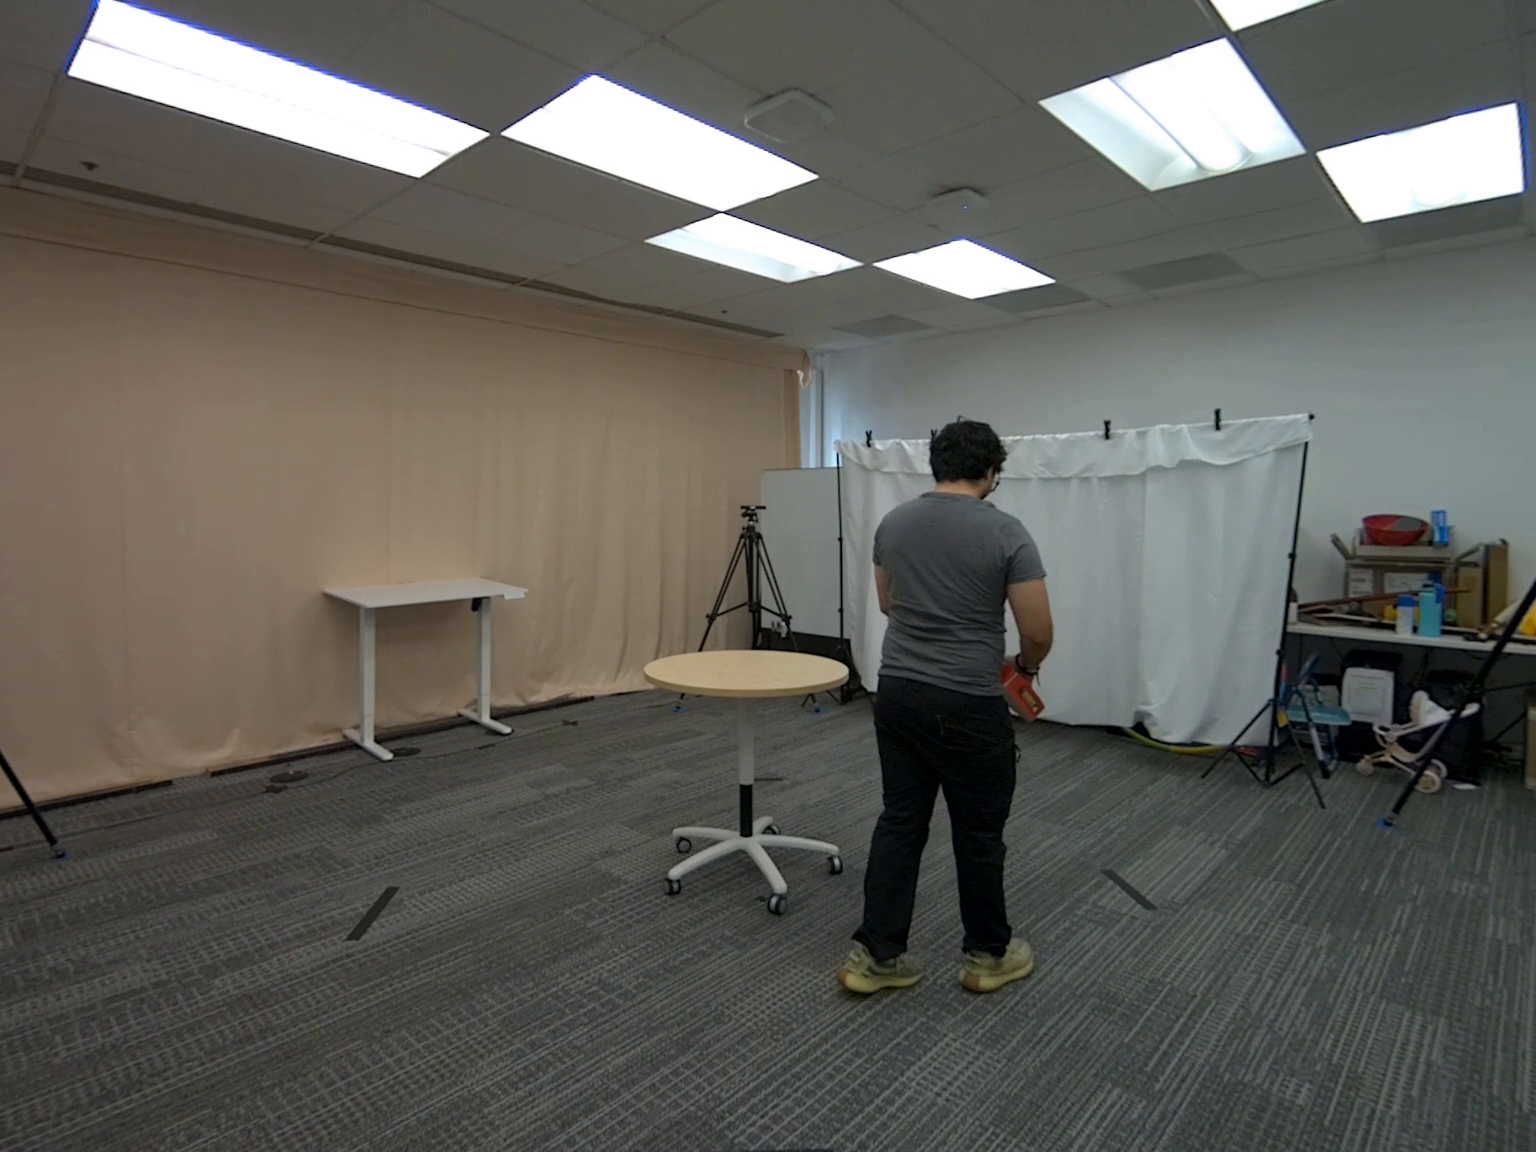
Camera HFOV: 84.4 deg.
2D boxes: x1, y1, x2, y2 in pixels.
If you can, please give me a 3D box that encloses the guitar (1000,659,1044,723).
[{"bbox_3d":[0.698,0.315,2.640,0.070,0.190,0.506,-40,13,-7],"label":"guitar"}]
